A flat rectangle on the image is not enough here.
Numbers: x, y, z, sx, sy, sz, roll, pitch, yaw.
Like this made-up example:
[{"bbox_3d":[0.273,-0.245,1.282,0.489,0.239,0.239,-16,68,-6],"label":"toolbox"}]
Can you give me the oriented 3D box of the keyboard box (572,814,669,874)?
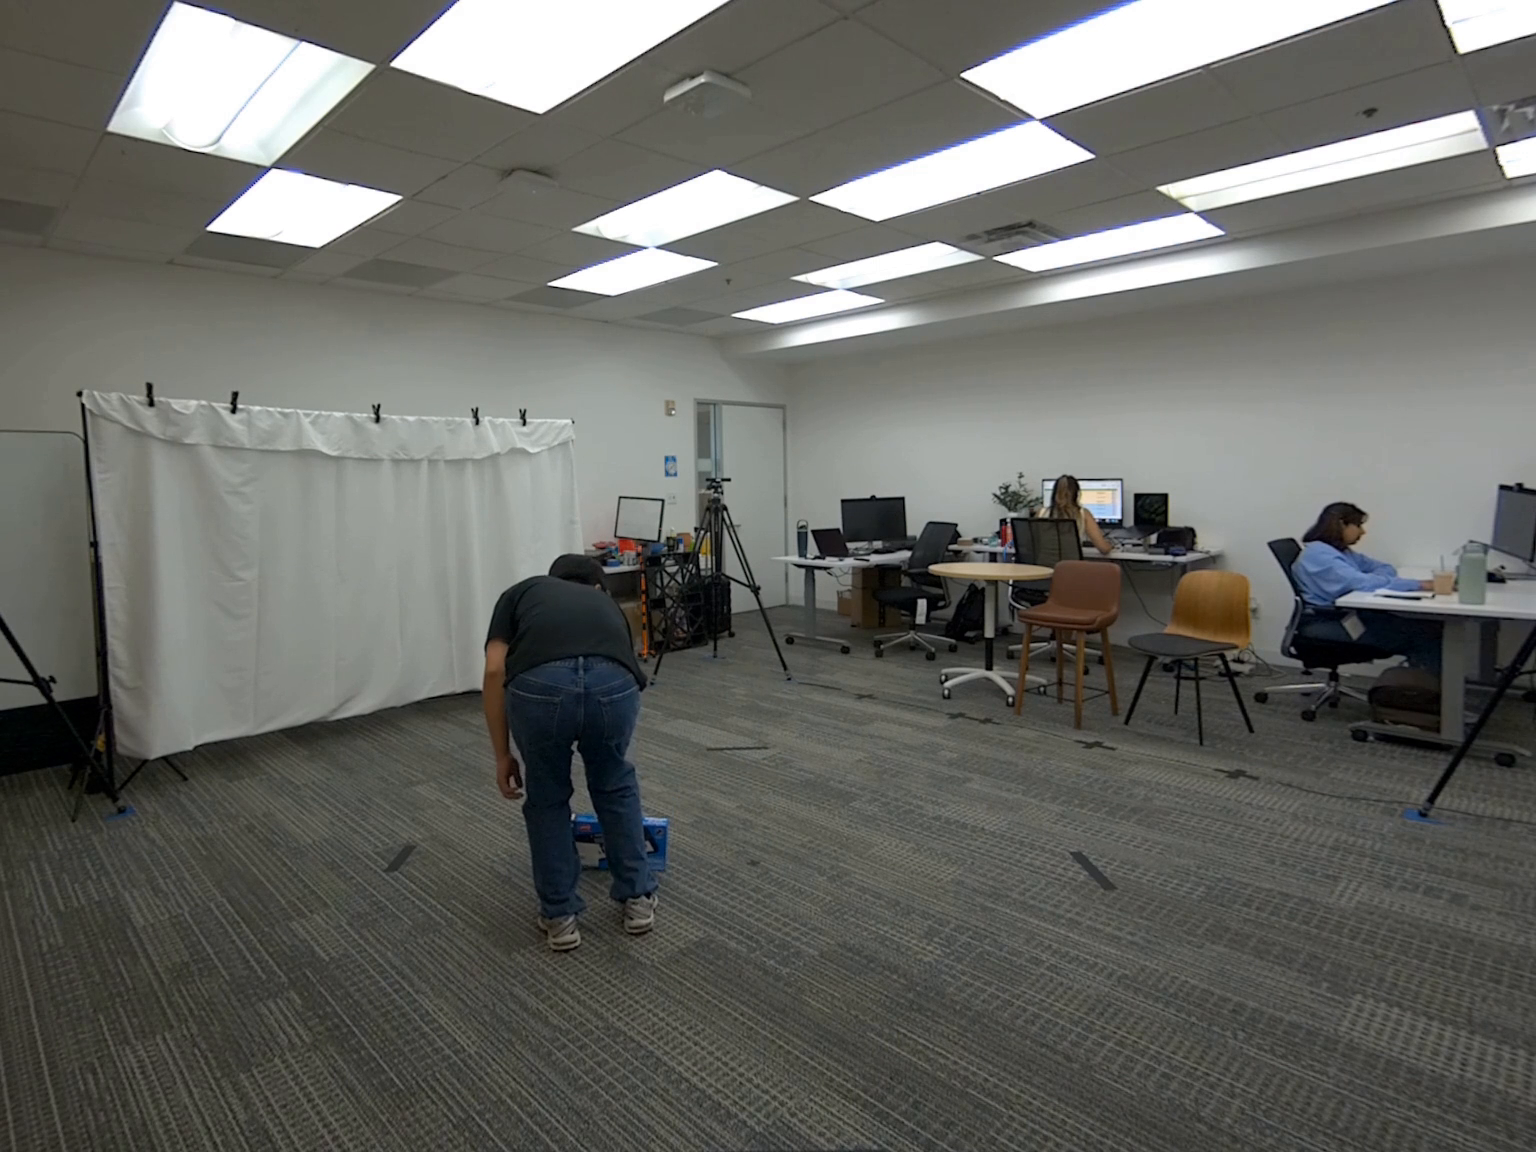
[{"bbox_3d":[-0.575,0.947,3.071,0.437,0.175,0.059,2,6,1],"label":"keyboard box"}]
